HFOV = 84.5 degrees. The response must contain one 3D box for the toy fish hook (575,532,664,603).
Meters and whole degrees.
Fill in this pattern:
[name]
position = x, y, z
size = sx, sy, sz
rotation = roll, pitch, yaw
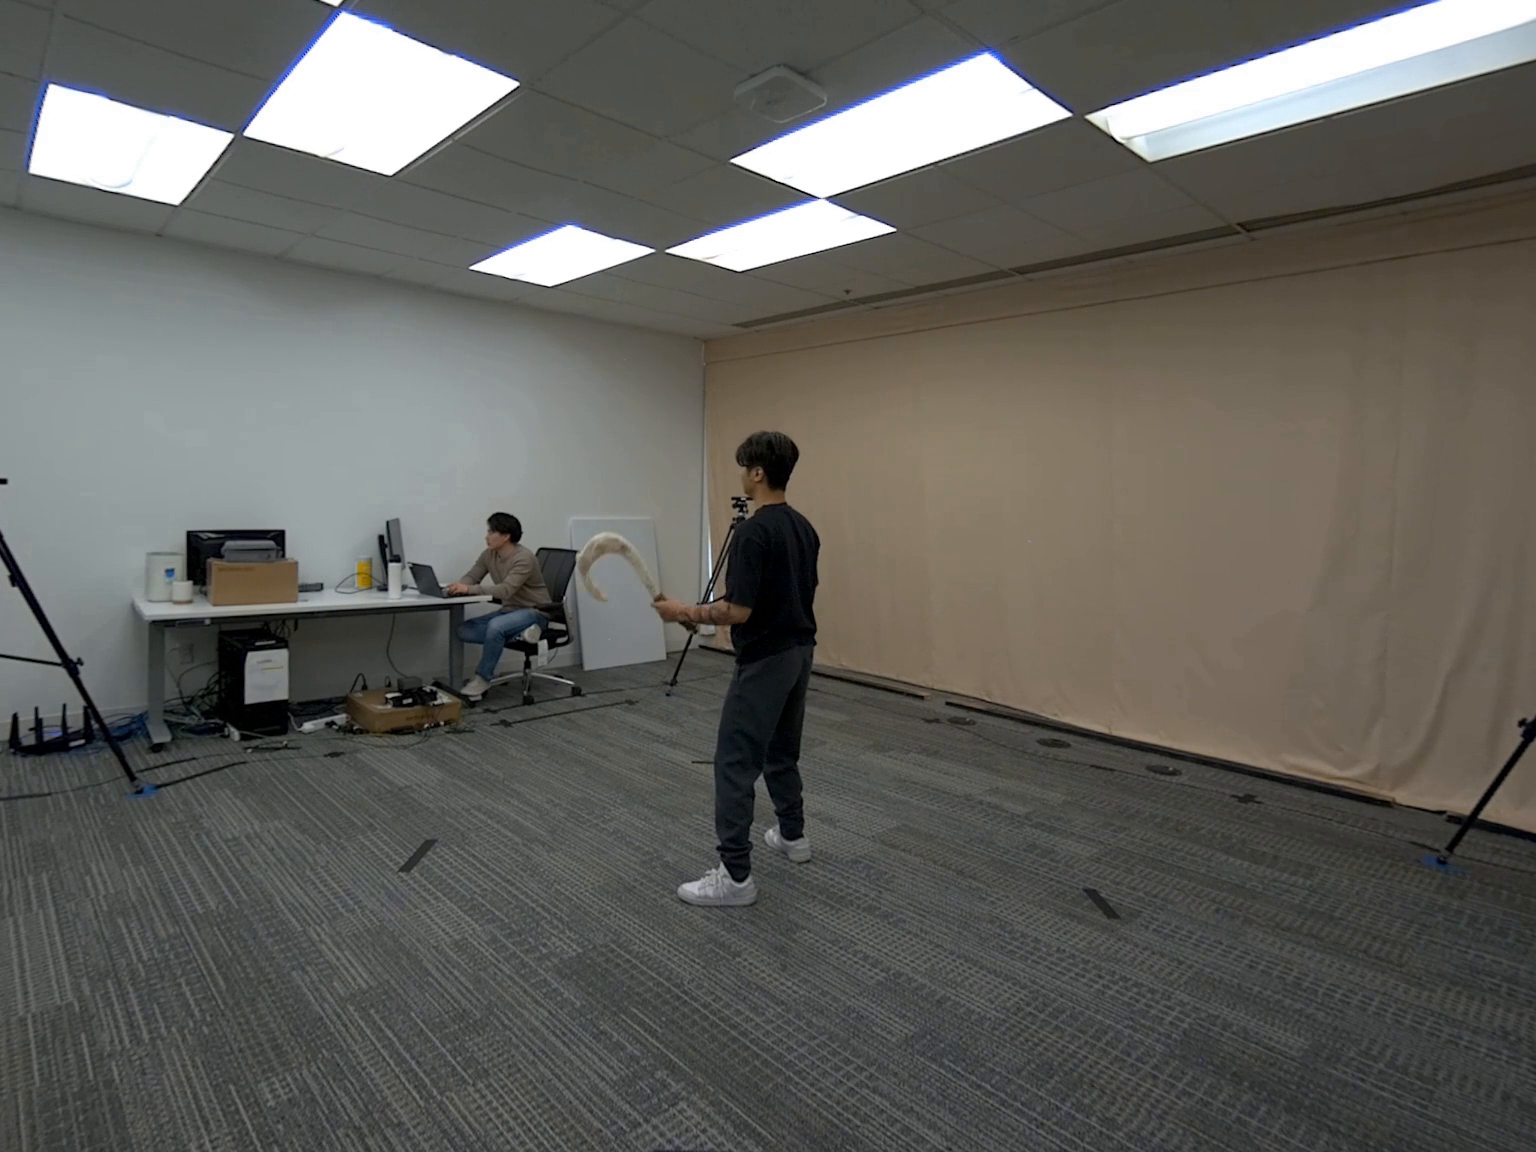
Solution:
[toy fish hook]
position = -0.450, 0.054, 2.992
size = 0.502, 0.224, 0.049
rotation = 45, -2, -8
